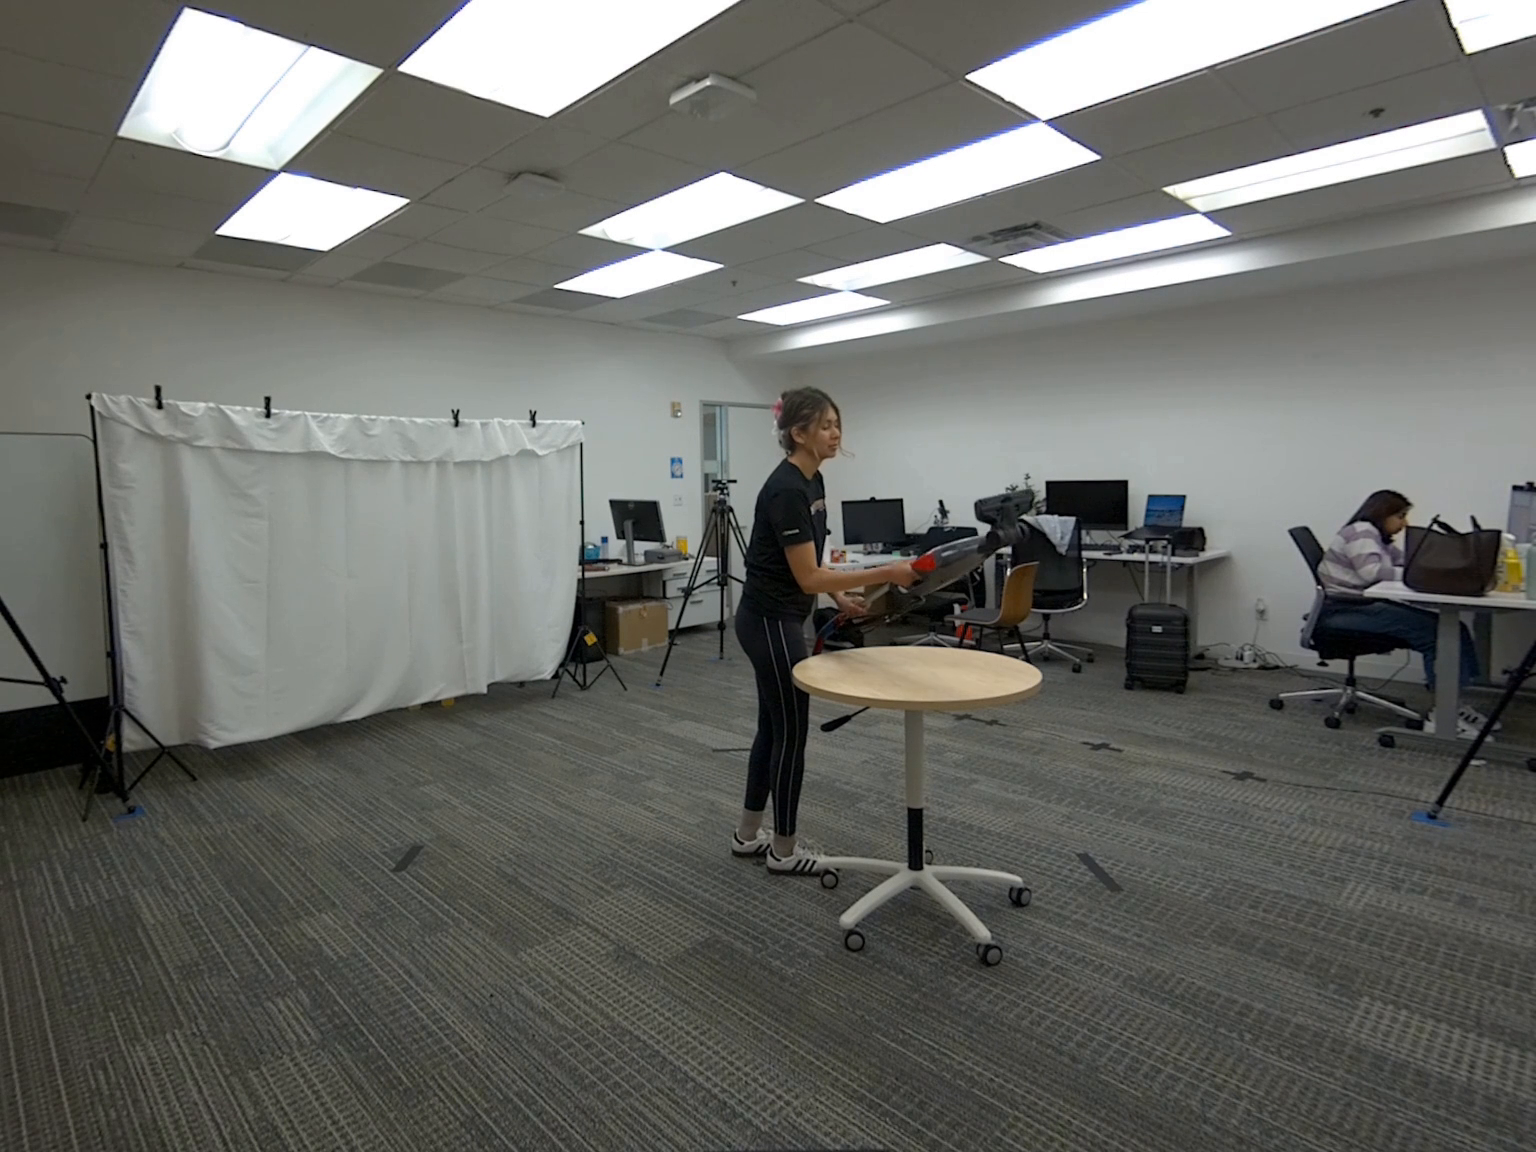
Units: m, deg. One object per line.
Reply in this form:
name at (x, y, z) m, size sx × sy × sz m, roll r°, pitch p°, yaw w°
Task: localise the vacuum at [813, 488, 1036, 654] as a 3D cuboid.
vacuum at (0.448, 0.070, 2.795) m, size 0.247 × 0.147 × 1.049 m, roll -12°, pitch -20°, yaw -36°
